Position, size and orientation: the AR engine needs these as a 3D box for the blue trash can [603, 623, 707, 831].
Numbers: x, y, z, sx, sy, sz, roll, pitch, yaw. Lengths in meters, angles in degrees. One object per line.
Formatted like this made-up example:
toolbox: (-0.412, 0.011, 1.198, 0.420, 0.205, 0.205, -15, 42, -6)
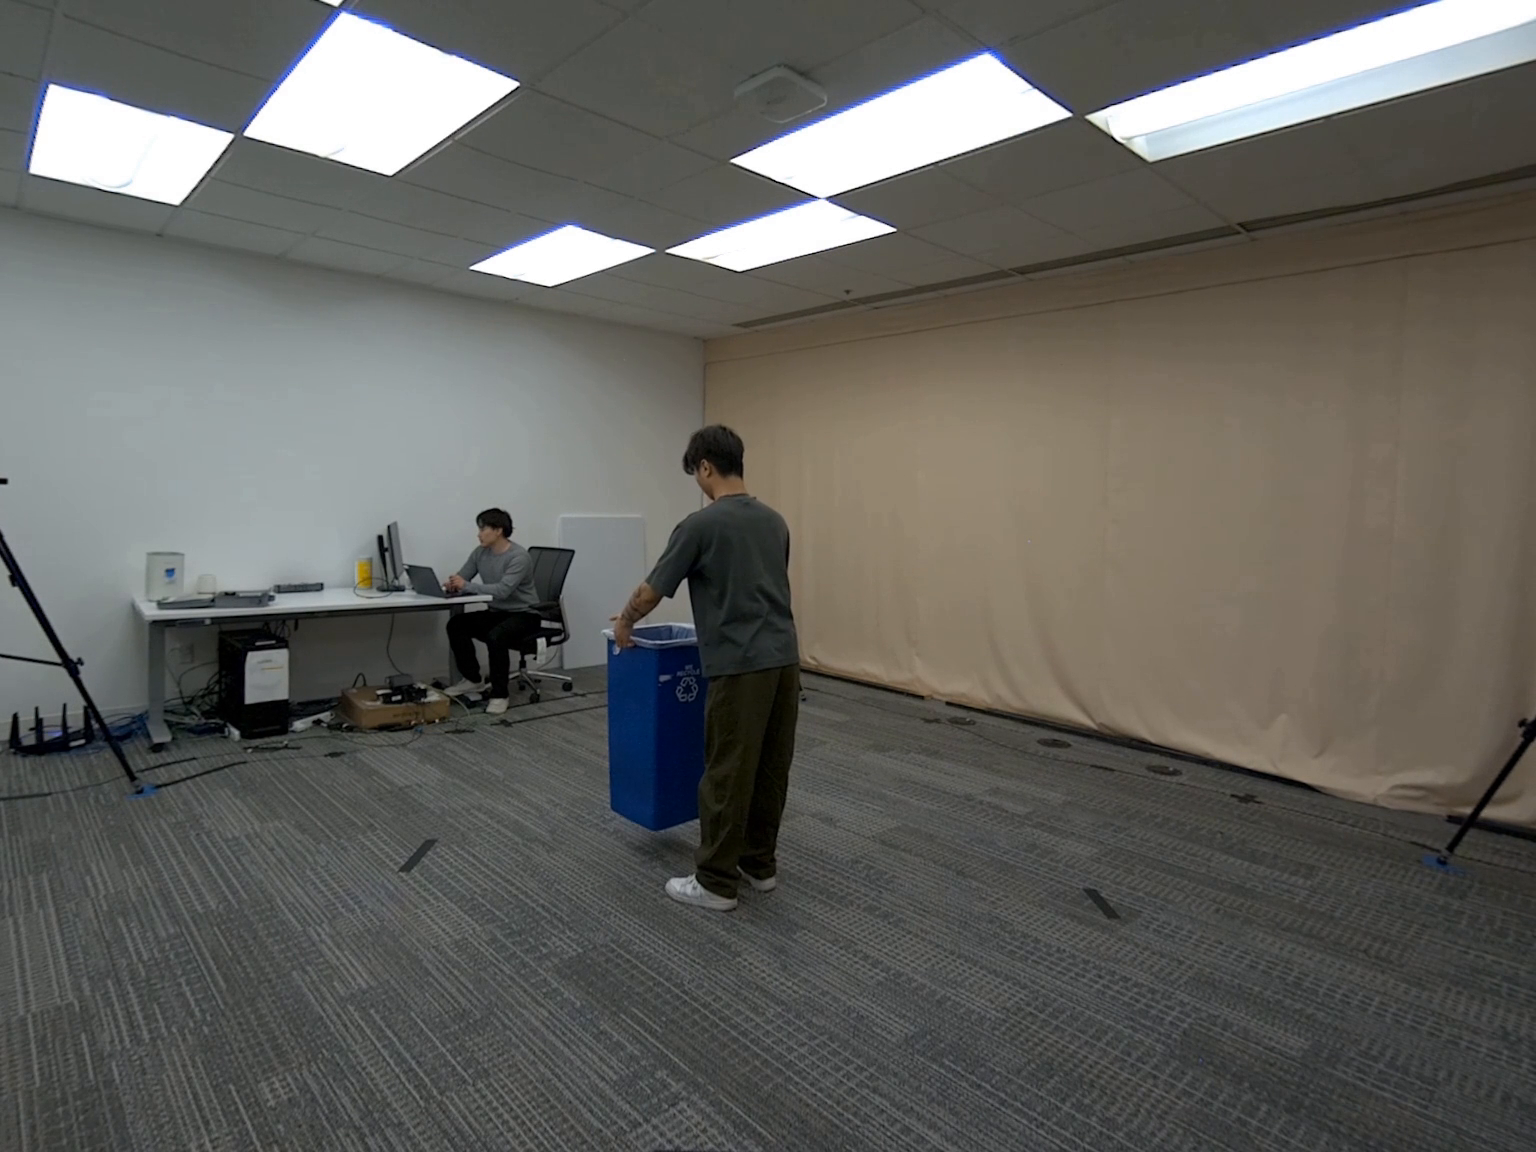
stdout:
blue trash can: (-0.426, 0.579, 3.305, 0.369, 0.711, 0.384, -2, 5, -44)
